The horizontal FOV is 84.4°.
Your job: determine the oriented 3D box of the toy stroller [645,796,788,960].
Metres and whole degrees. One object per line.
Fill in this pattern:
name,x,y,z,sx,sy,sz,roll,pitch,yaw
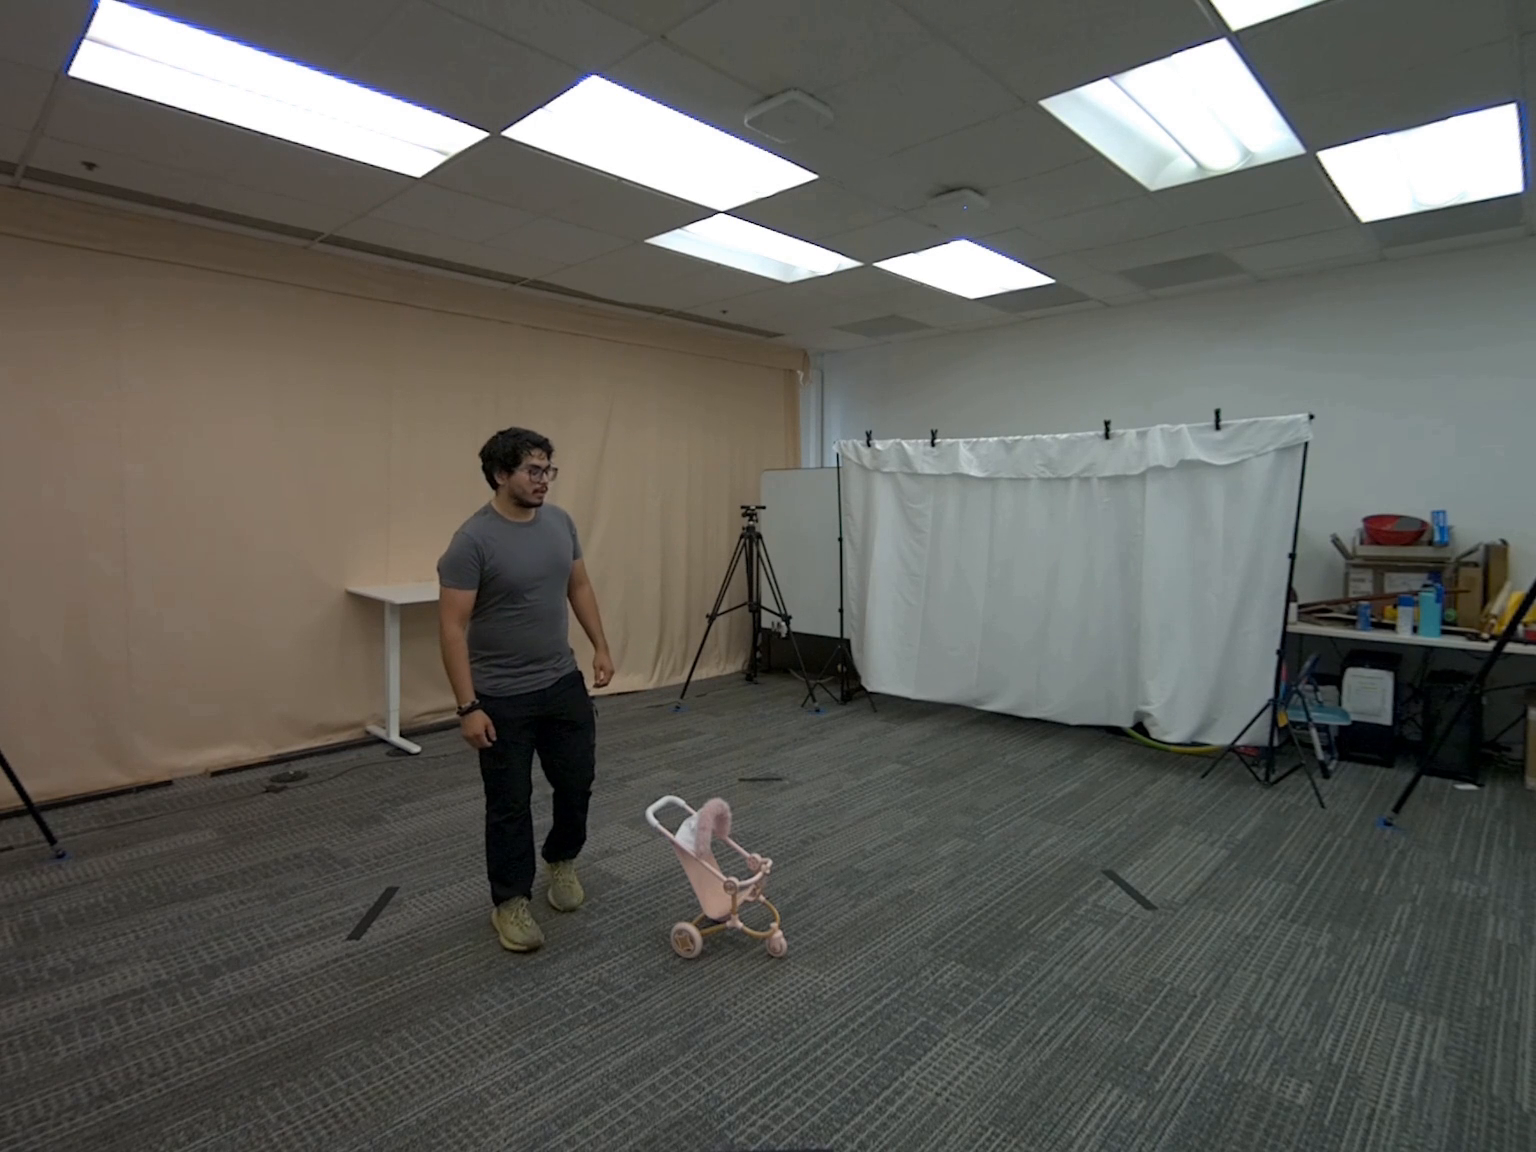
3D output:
toy stroller,-0.148,0.956,2.658,0.348,0.537,0.274,-18,-5,28
